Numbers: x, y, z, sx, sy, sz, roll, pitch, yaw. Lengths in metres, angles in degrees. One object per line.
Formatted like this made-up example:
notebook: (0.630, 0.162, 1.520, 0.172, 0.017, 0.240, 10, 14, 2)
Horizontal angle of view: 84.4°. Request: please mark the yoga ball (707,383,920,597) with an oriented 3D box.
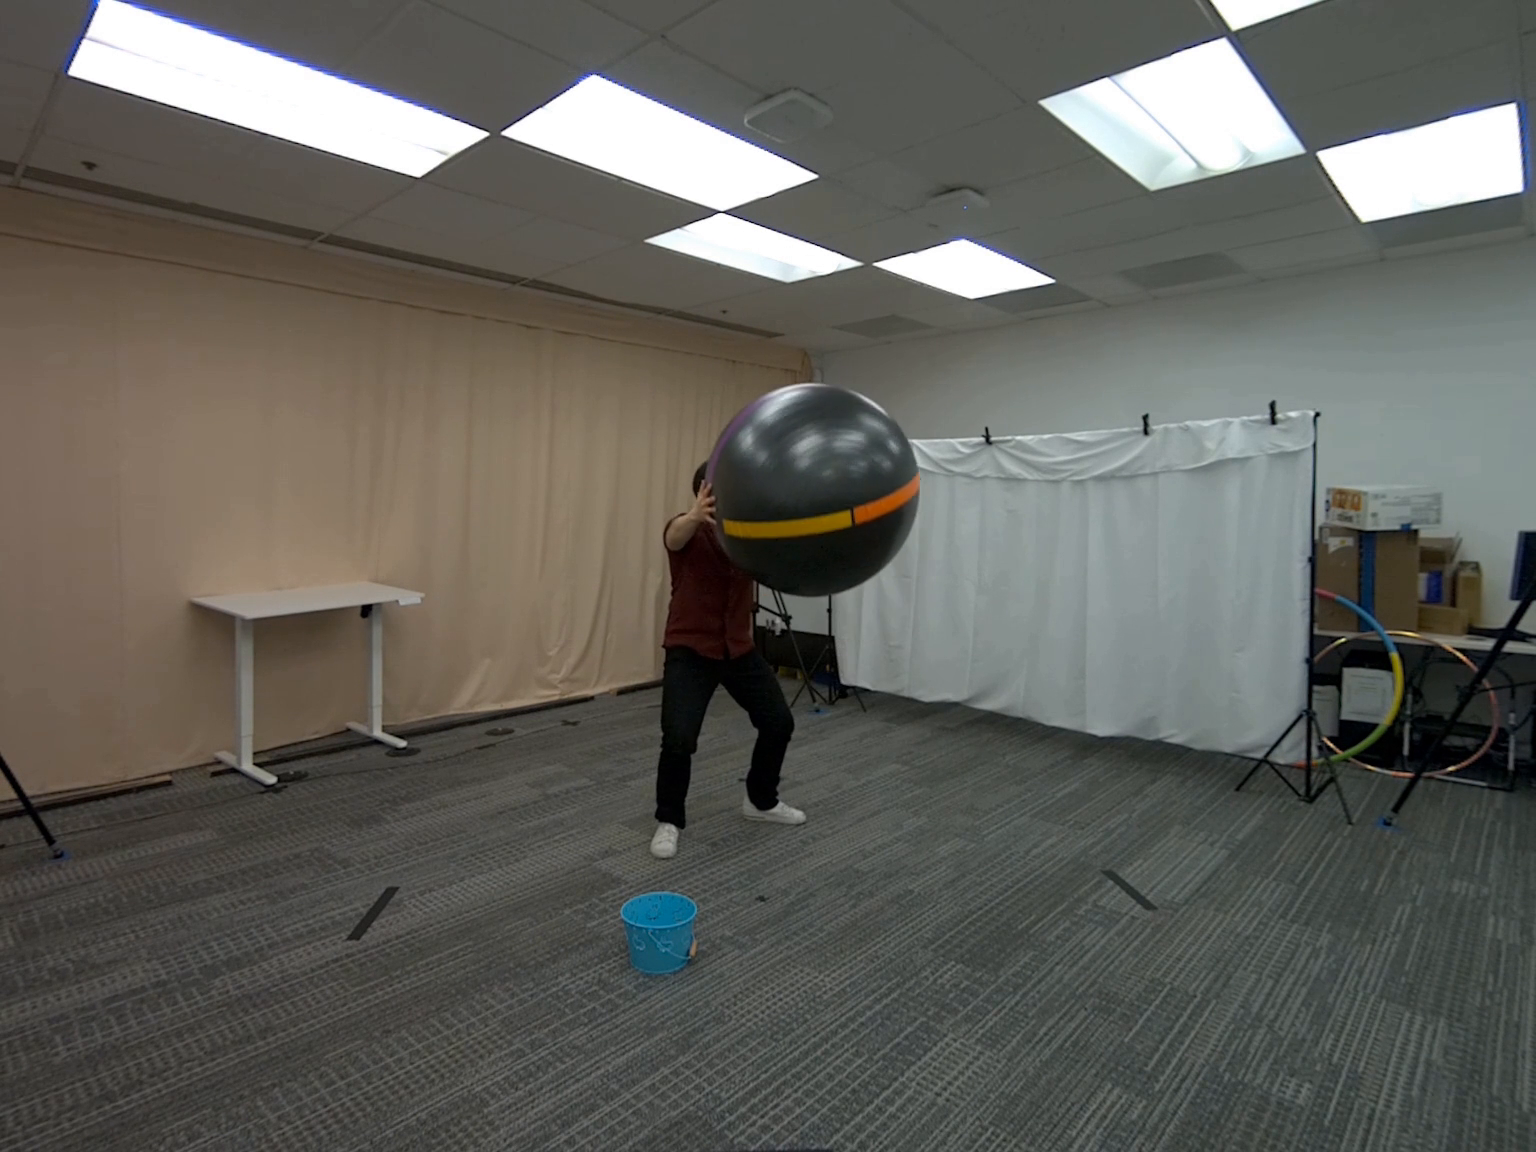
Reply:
yoga ball: (0.157, -0.295, 3.016, 0.757, 0.756, 0.760, 0, 4, -2)
